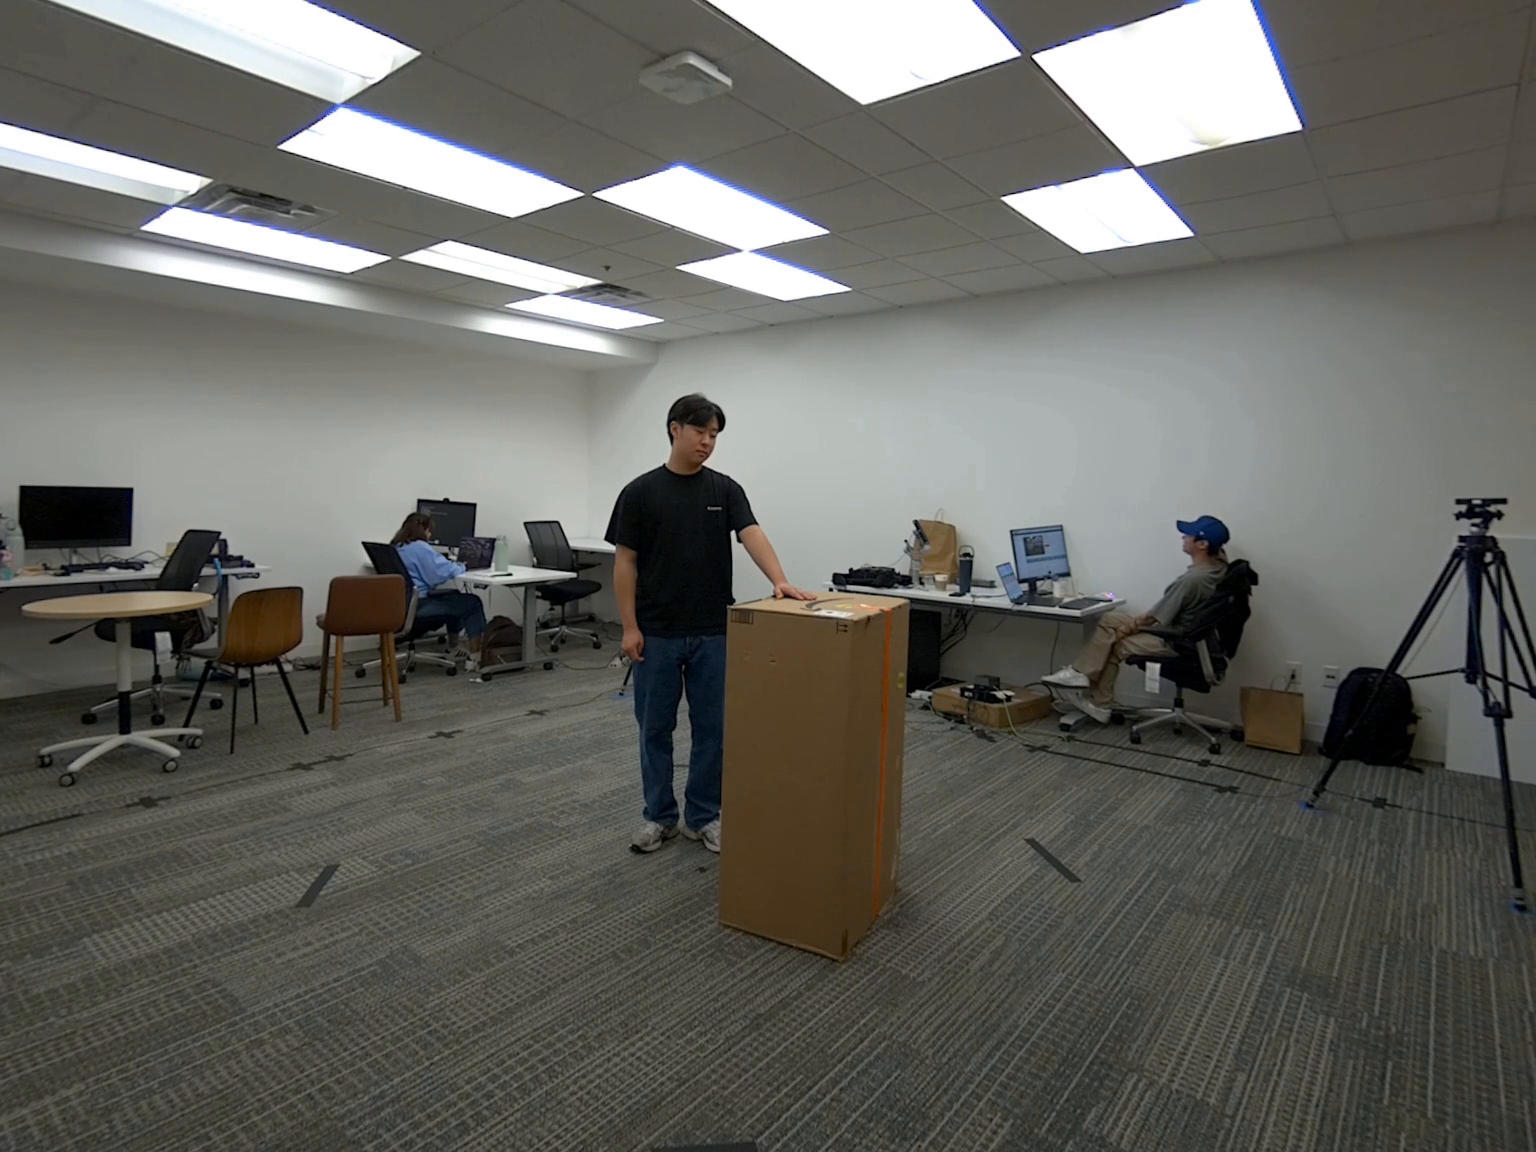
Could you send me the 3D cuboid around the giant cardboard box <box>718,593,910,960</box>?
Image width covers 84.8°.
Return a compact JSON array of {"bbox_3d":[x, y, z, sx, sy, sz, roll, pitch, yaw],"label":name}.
[{"bbox_3d":[0.163,0.592,2.836,0.460,1.024,0.569,4,4,28],"label":"giant cardboard box"}]
